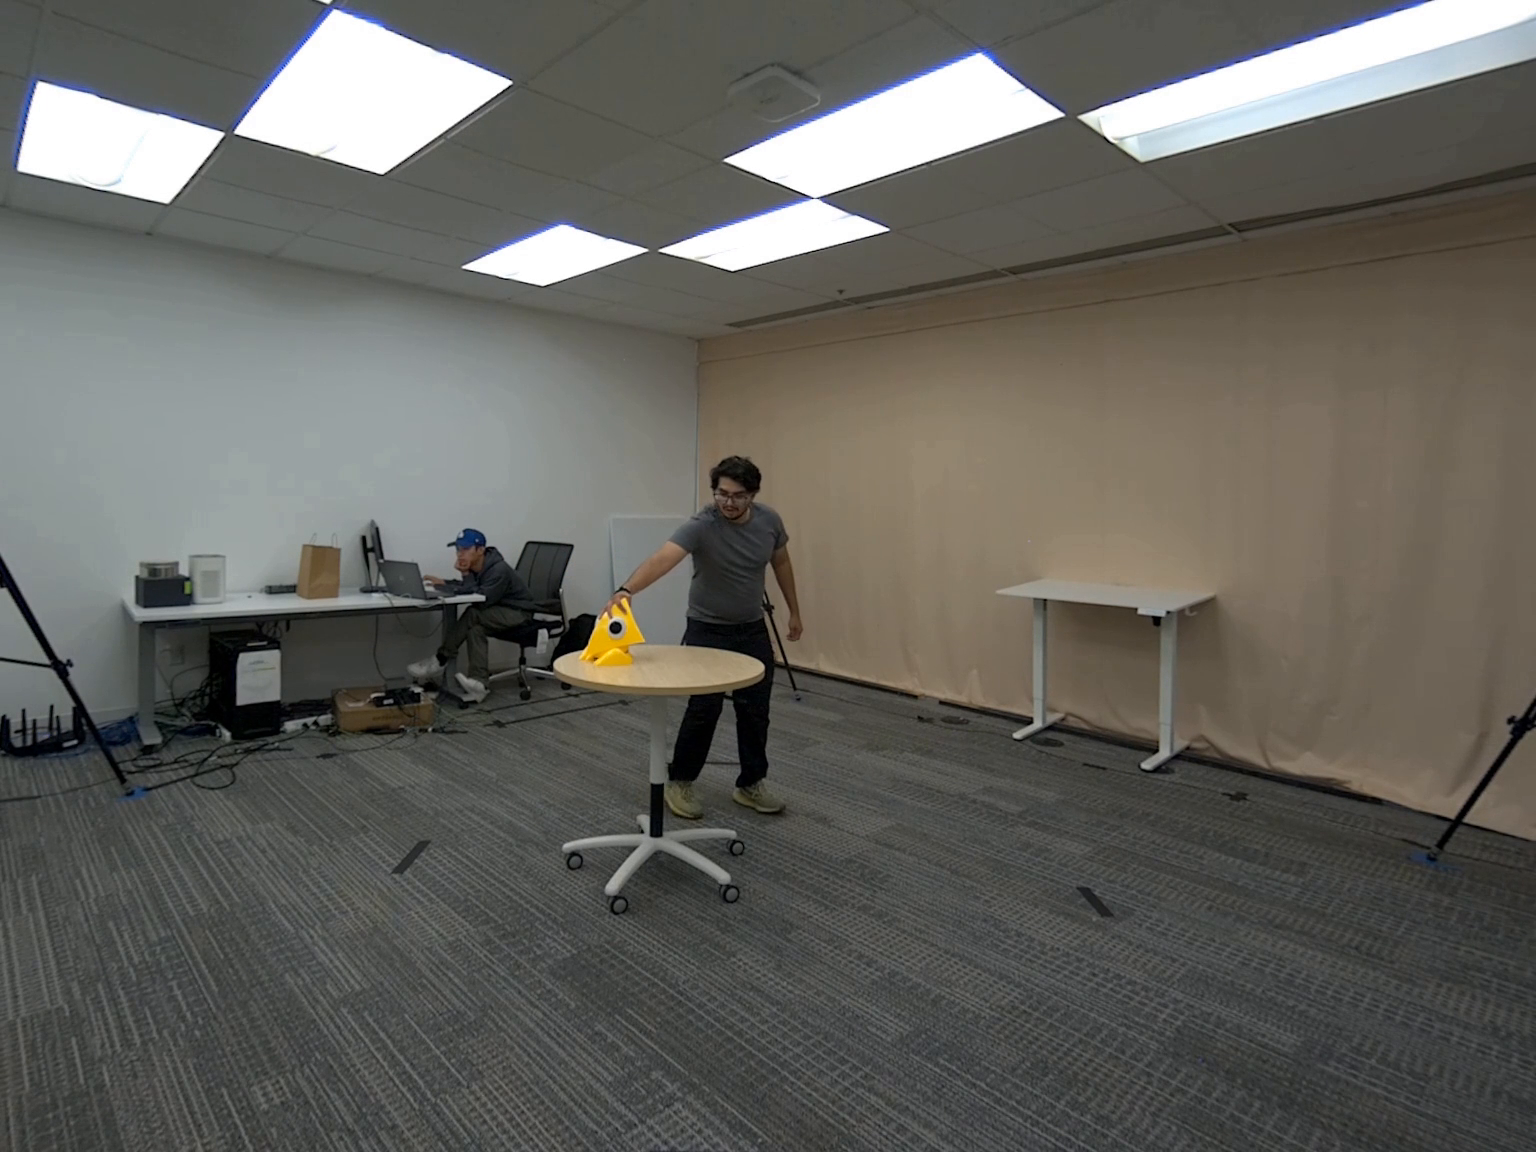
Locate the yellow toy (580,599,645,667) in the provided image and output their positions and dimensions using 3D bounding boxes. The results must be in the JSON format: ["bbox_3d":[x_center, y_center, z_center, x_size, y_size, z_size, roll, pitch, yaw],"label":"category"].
[{"bbox_3d":[-0.588,0.199,3.100,0.189,0.230,0.210,-2,5,-38],"label":"yellow toy"}]
